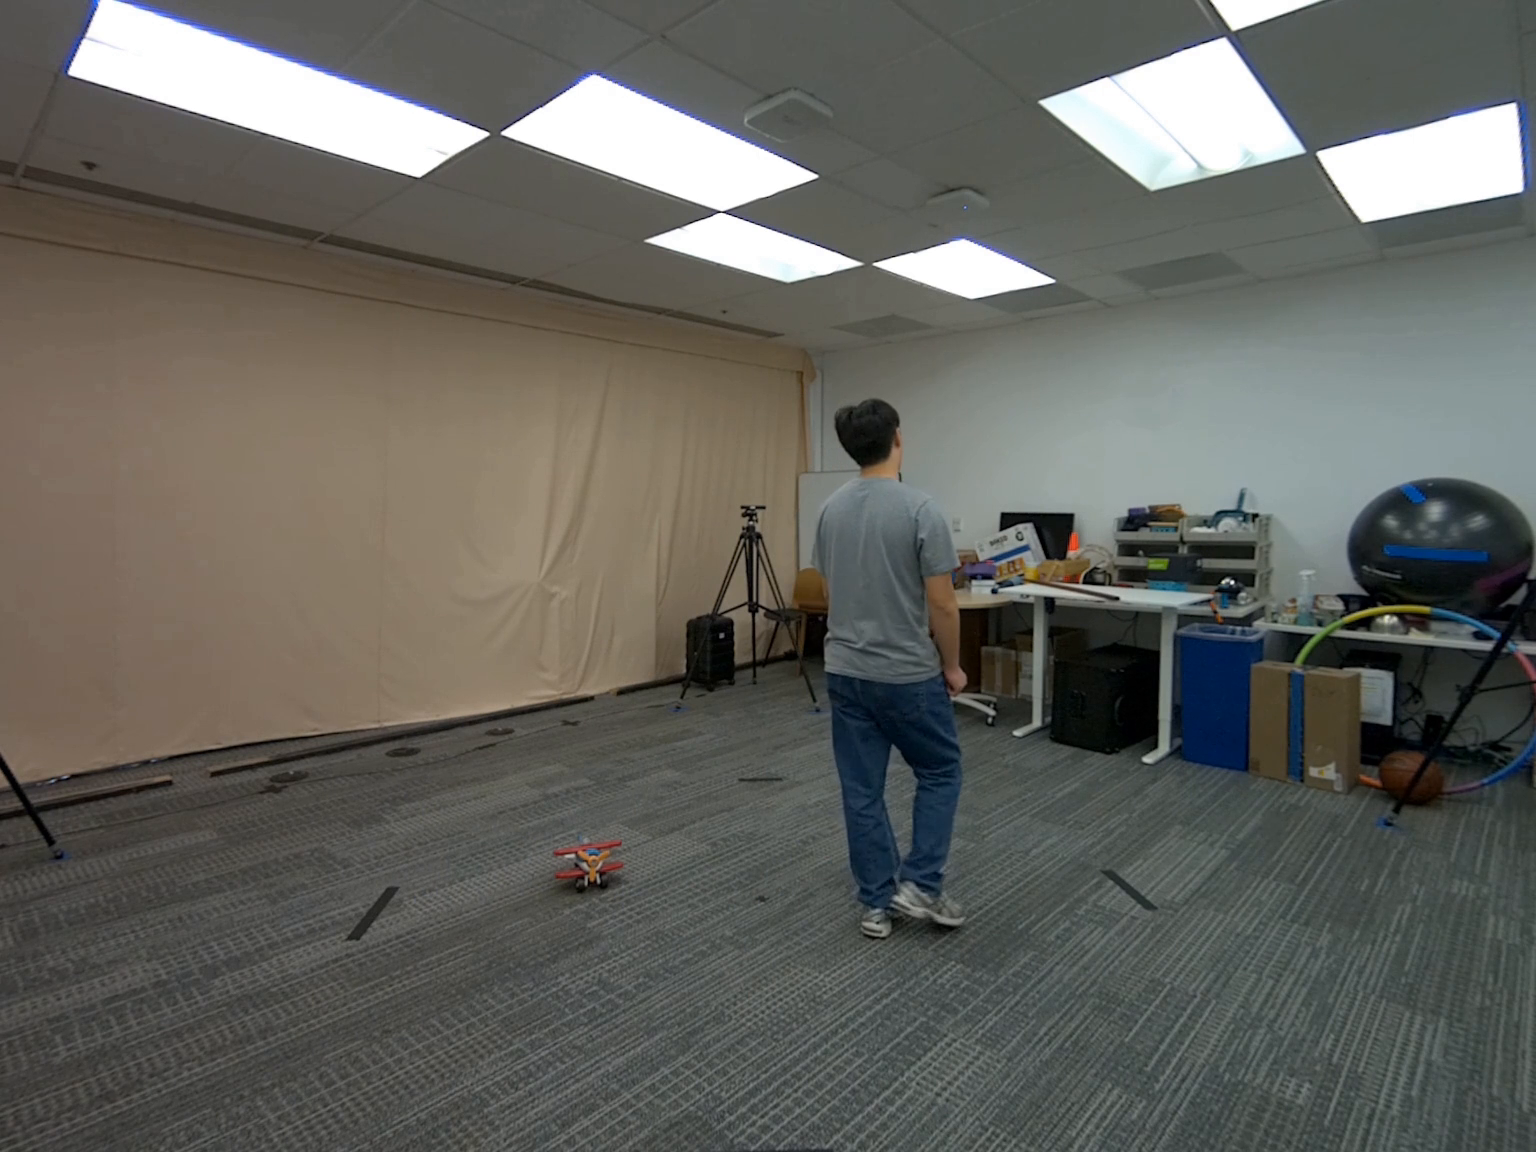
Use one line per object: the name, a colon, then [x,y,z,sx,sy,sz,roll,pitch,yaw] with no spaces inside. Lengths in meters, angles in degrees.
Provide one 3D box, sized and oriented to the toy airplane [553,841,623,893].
toy airplane: [-0.697,1.066,3.132,0.268,0.156,0.243,4,6,40]
